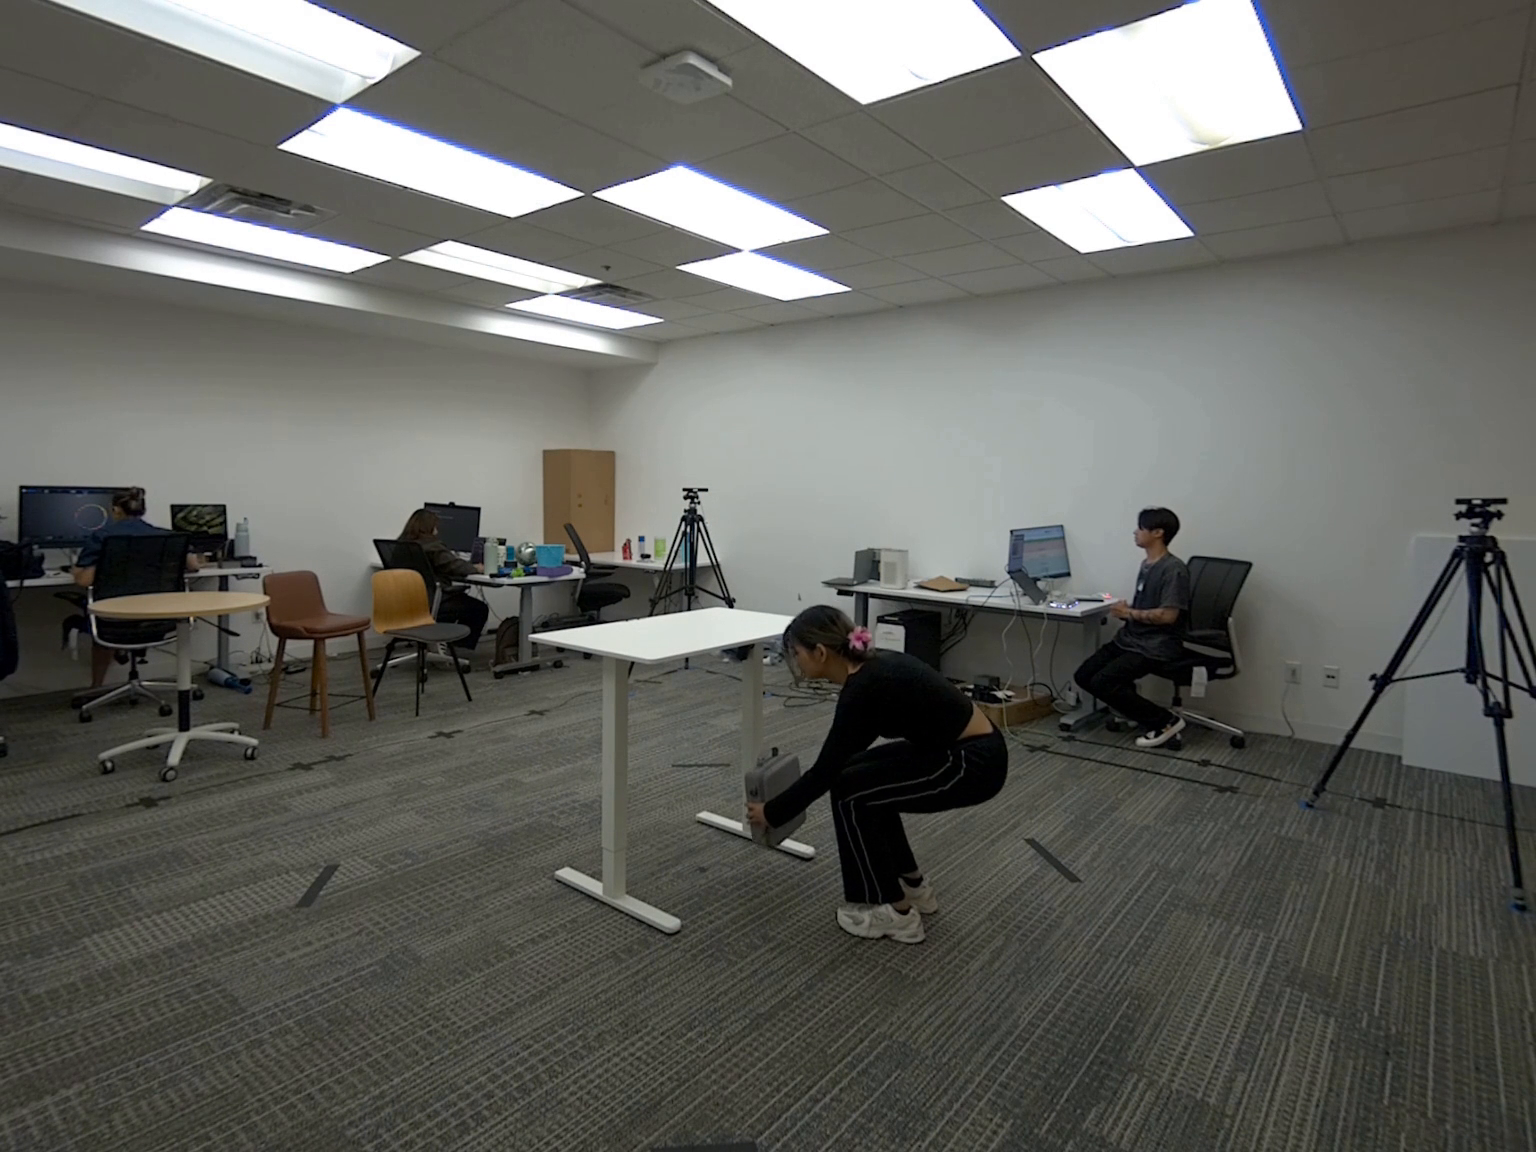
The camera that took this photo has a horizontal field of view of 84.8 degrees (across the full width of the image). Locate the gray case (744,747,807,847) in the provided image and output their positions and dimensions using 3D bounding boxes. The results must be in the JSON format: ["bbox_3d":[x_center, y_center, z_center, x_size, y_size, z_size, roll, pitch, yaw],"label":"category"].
[{"bbox_3d":[0.027,0.749,2.901,0.107,0.260,0.251,-6,2,28],"label":"gray case"}]
